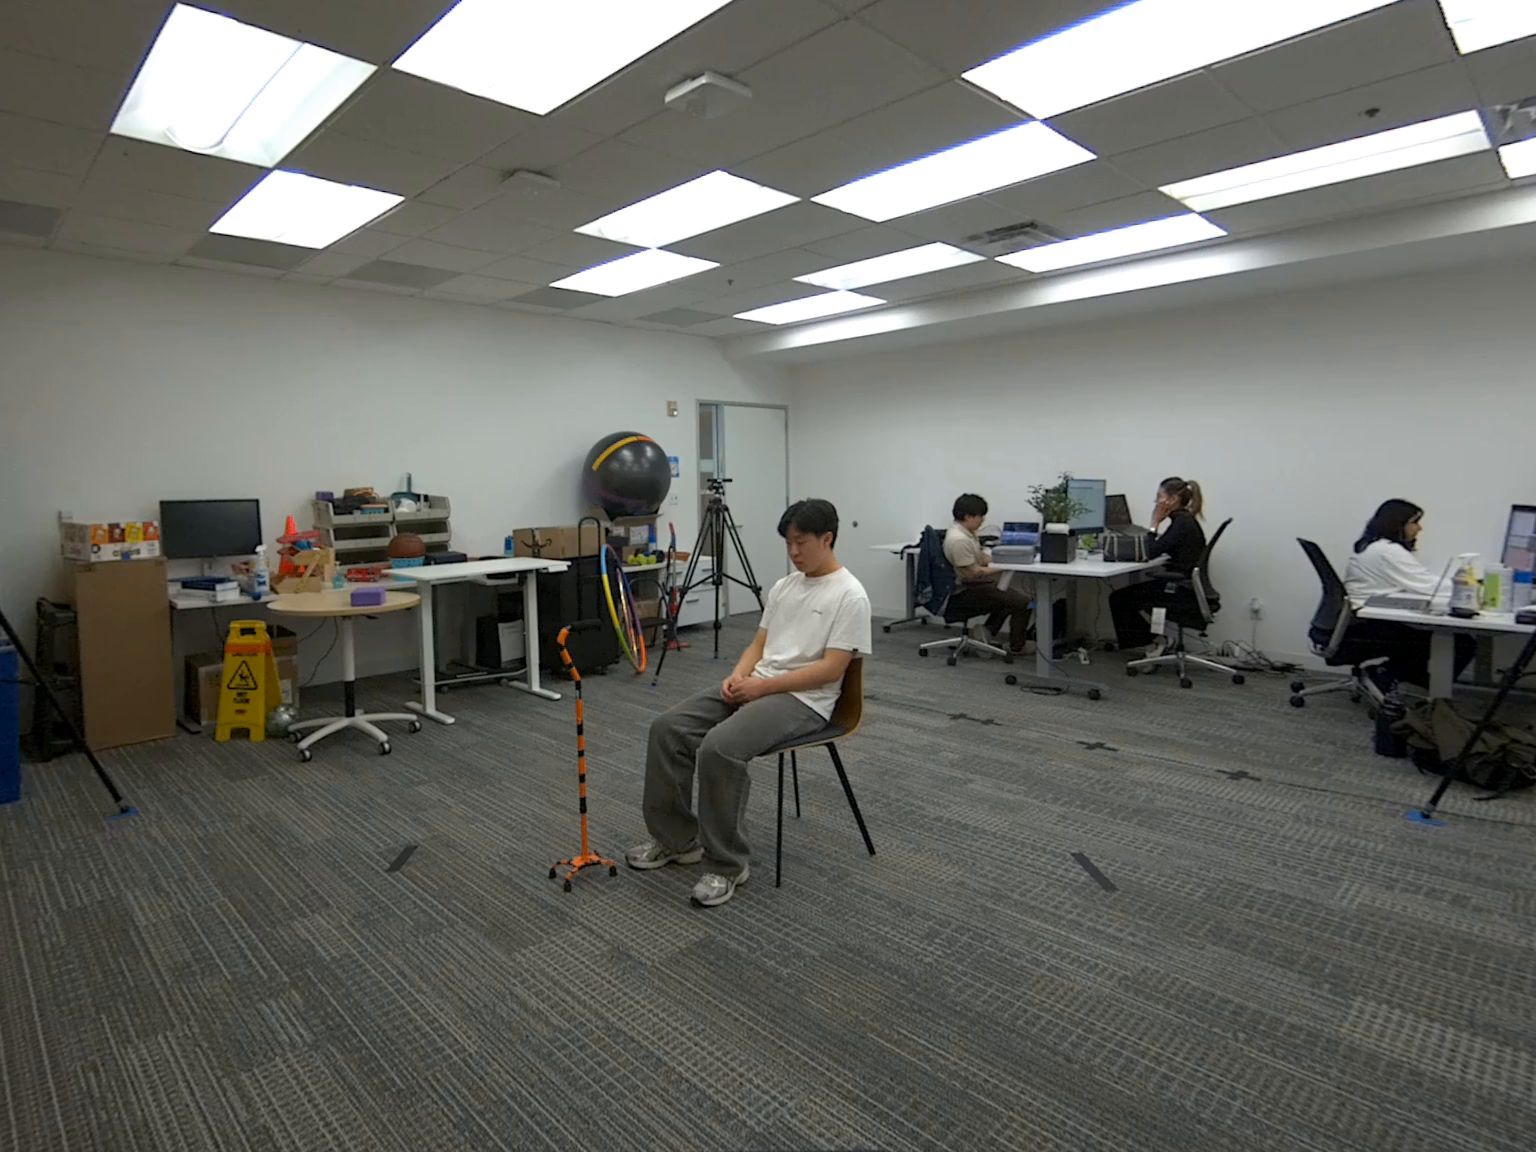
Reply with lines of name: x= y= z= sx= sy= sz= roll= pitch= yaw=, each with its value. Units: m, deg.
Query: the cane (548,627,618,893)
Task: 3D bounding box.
cane: x=-0.667 y=0.611 z=3.008 sx=0.201 sy=0.905 sz=0.156 roll=-4 pitch=4 yaw=-40
